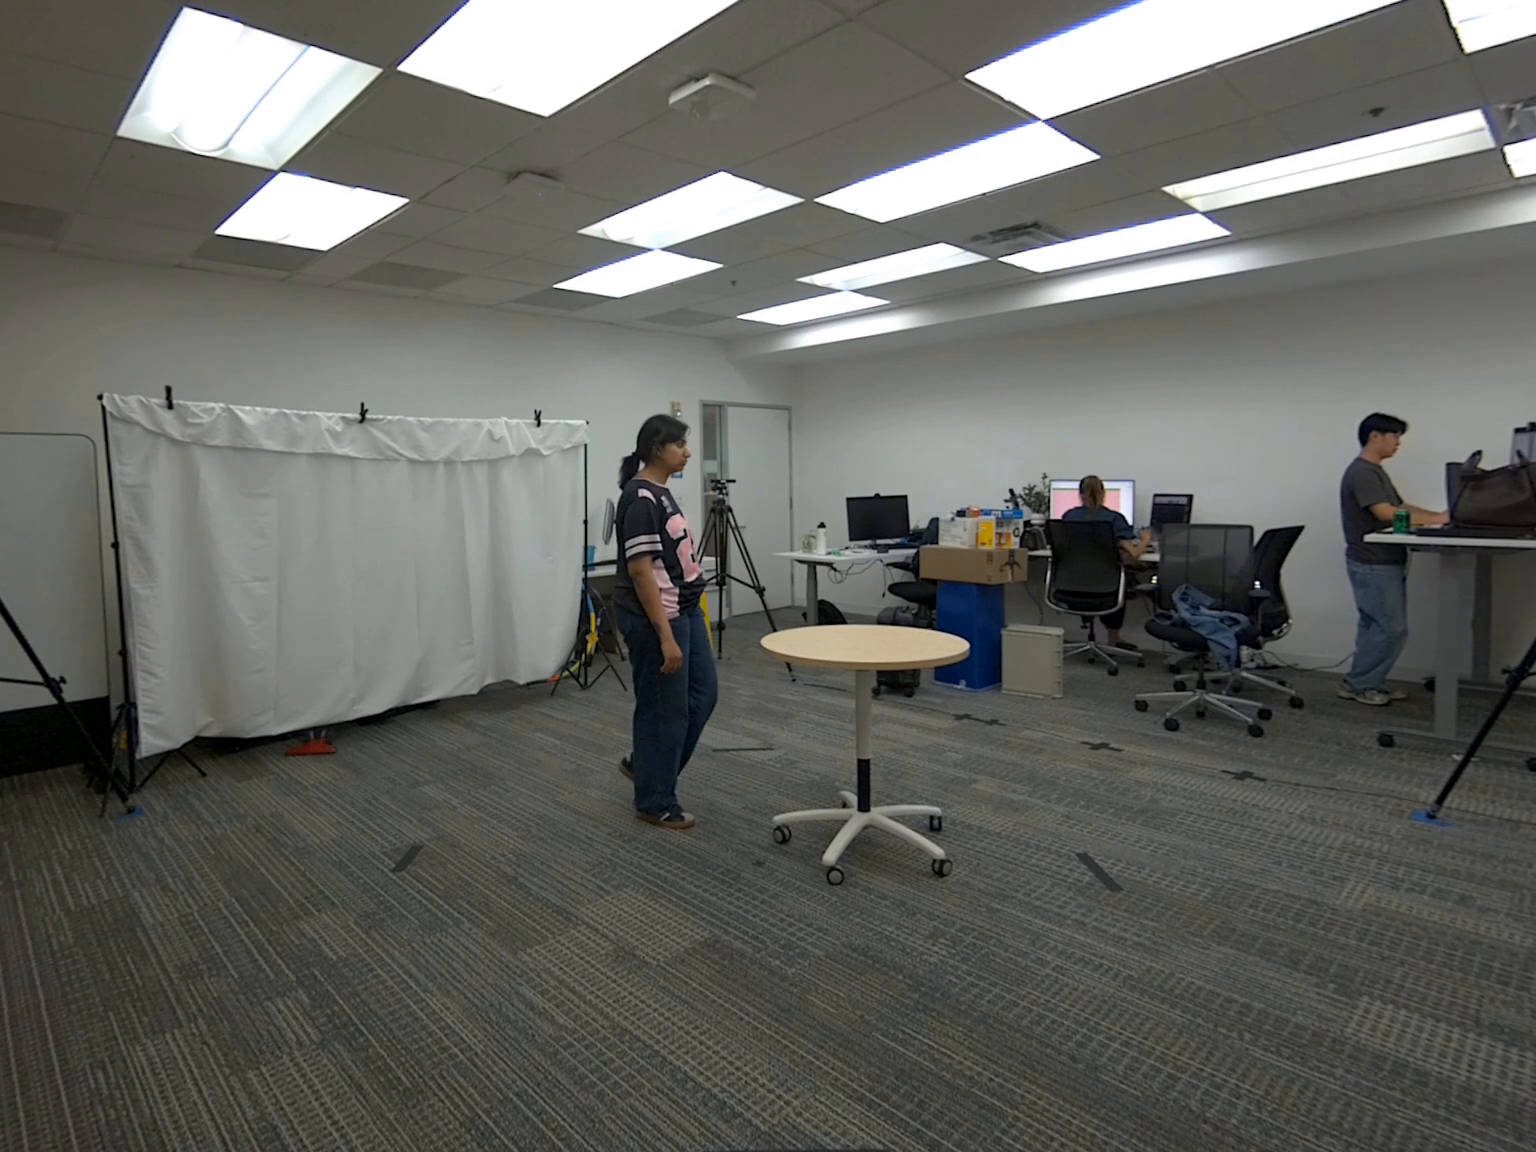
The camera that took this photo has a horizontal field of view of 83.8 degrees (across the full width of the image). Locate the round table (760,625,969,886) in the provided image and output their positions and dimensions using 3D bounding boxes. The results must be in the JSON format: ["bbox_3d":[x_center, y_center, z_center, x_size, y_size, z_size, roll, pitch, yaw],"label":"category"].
[{"bbox_3d":[0.367,0.642,3.206,0.763,0.791,0.767,-1,4,-2],"label":"round table"}]
